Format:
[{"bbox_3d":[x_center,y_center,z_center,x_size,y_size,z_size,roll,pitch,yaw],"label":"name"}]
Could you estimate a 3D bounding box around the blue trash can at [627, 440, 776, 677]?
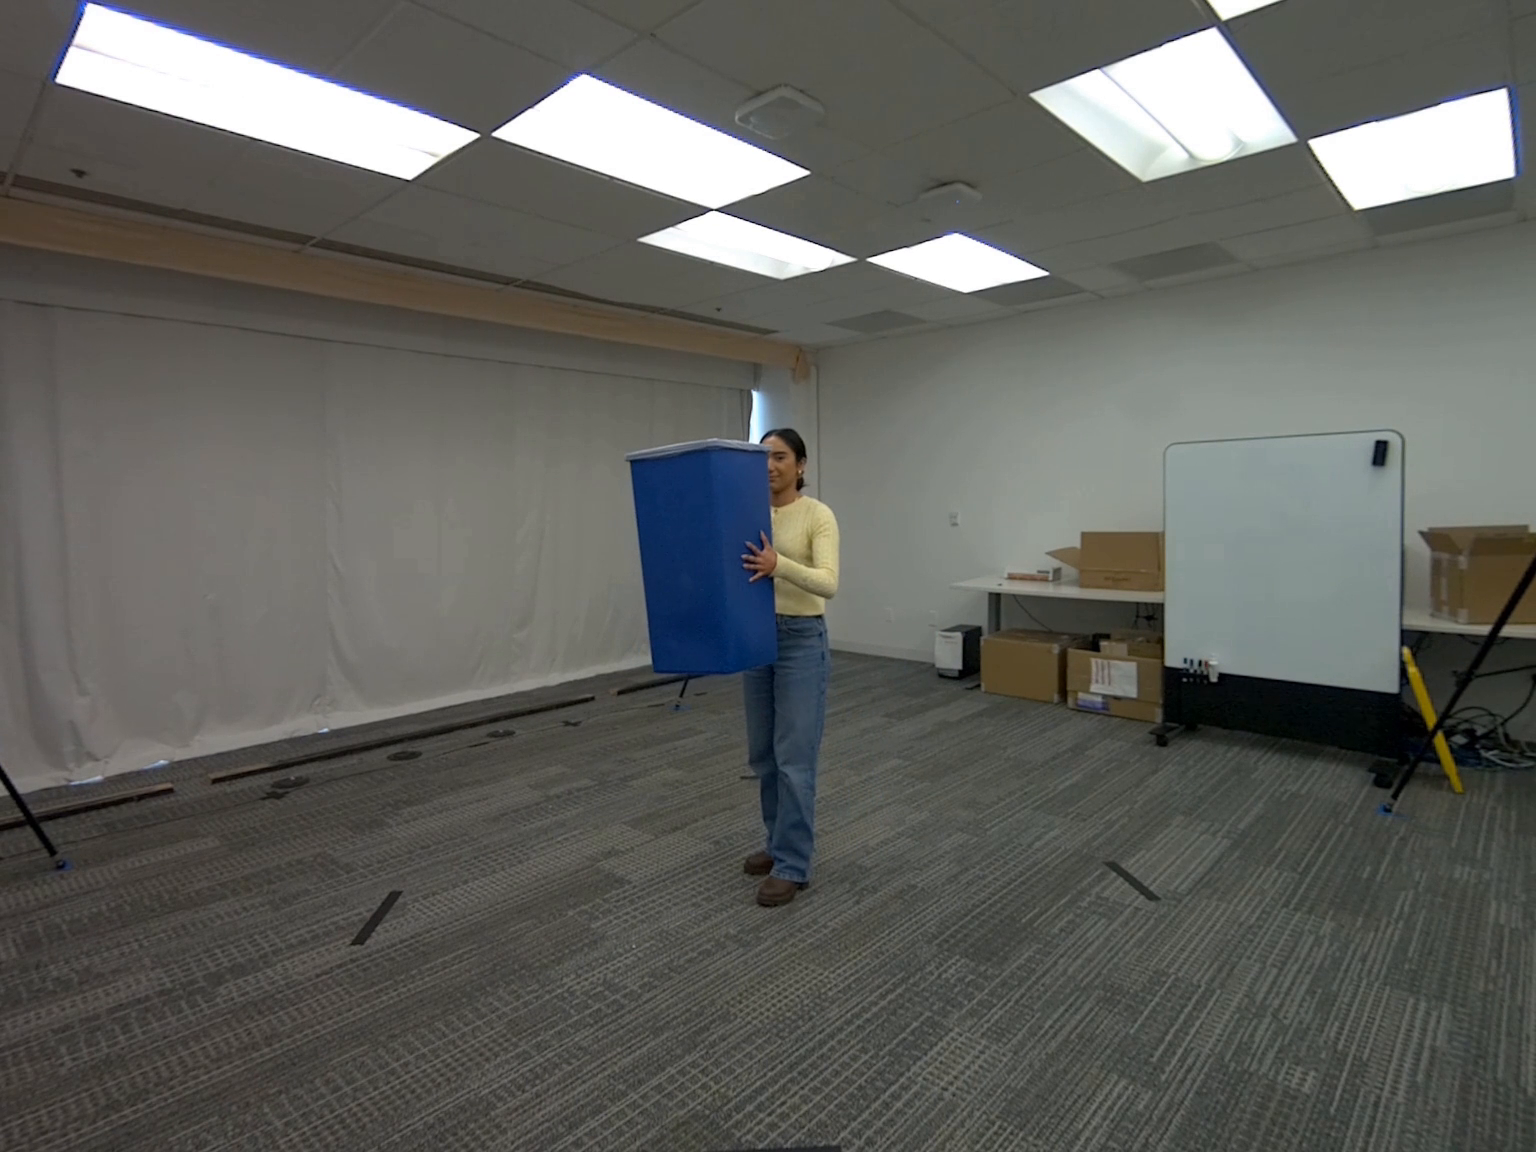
[{"bbox_3d":[-0.195,-0.059,2.742,0.389,0.714,0.363,-5,-1,32],"label":"blue trash can"}]
